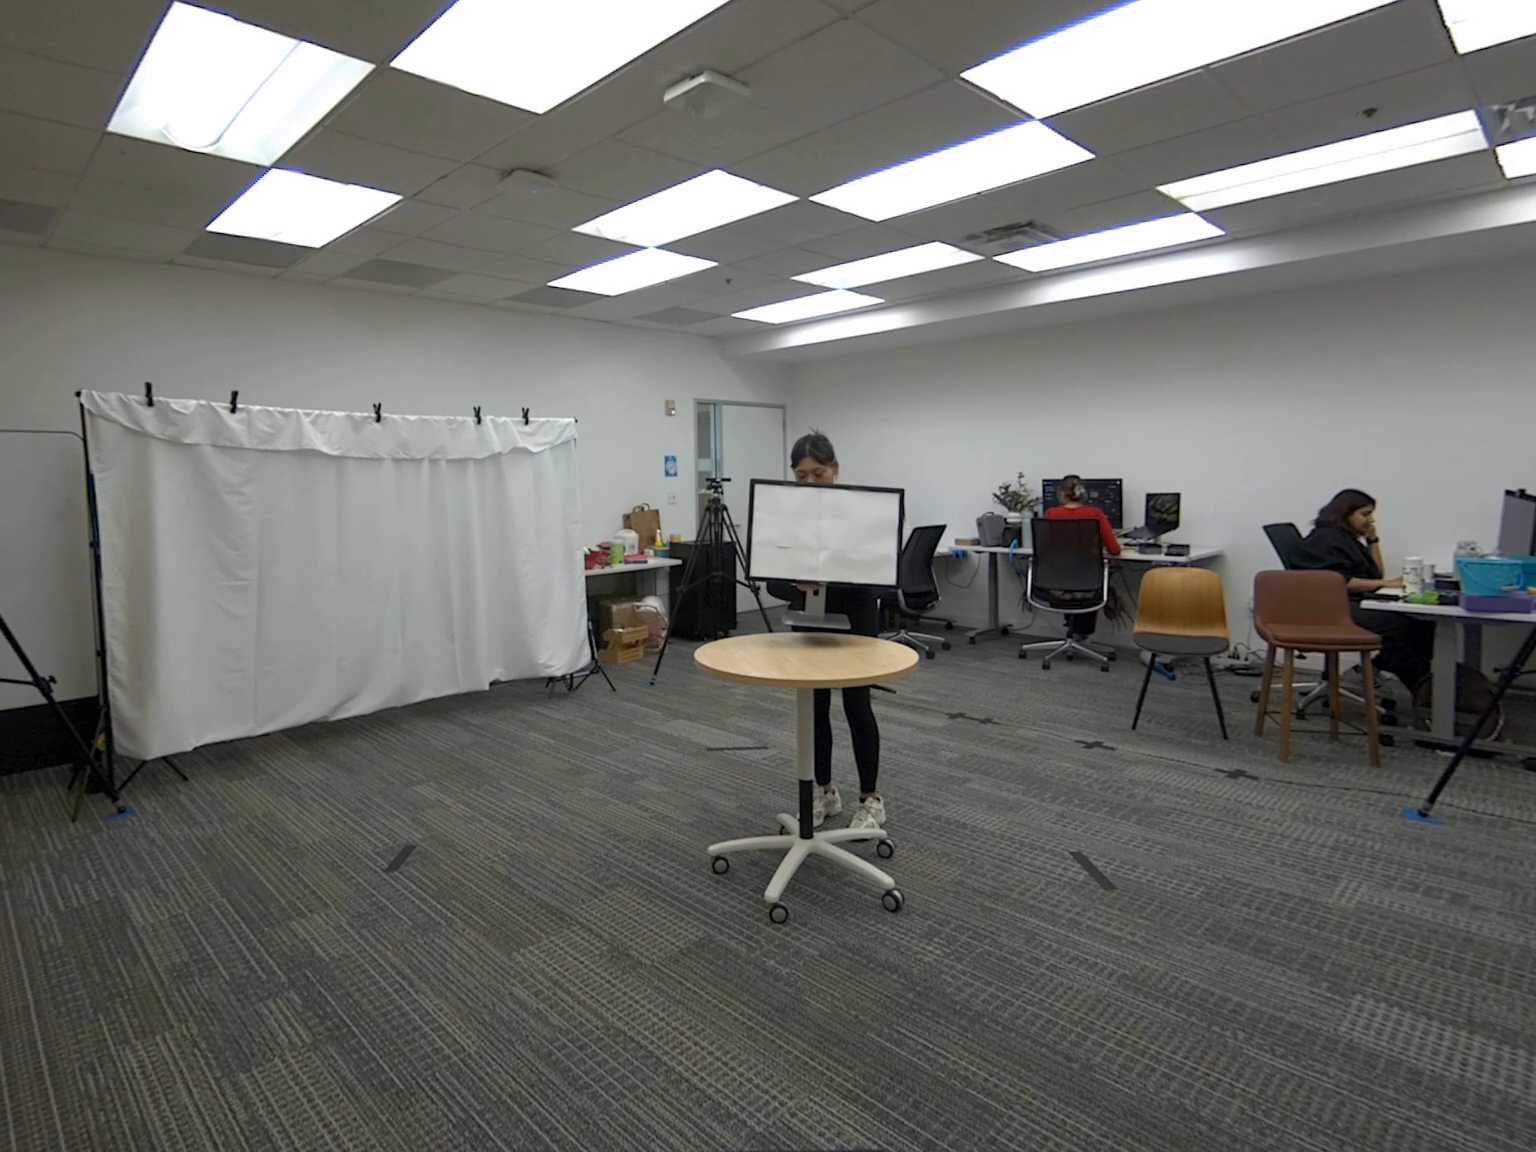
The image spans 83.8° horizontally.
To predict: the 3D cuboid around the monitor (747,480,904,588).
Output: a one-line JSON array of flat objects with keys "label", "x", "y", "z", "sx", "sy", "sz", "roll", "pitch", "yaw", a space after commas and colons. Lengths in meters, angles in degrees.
[{"label": "monitor", "x": 0.189, "y": -0.076, "z": 3.097, "sx": 0.536, "sy": 0.518, "sz": 0.189, "roll": 2, "pitch": 9, "yaw": -5}]
